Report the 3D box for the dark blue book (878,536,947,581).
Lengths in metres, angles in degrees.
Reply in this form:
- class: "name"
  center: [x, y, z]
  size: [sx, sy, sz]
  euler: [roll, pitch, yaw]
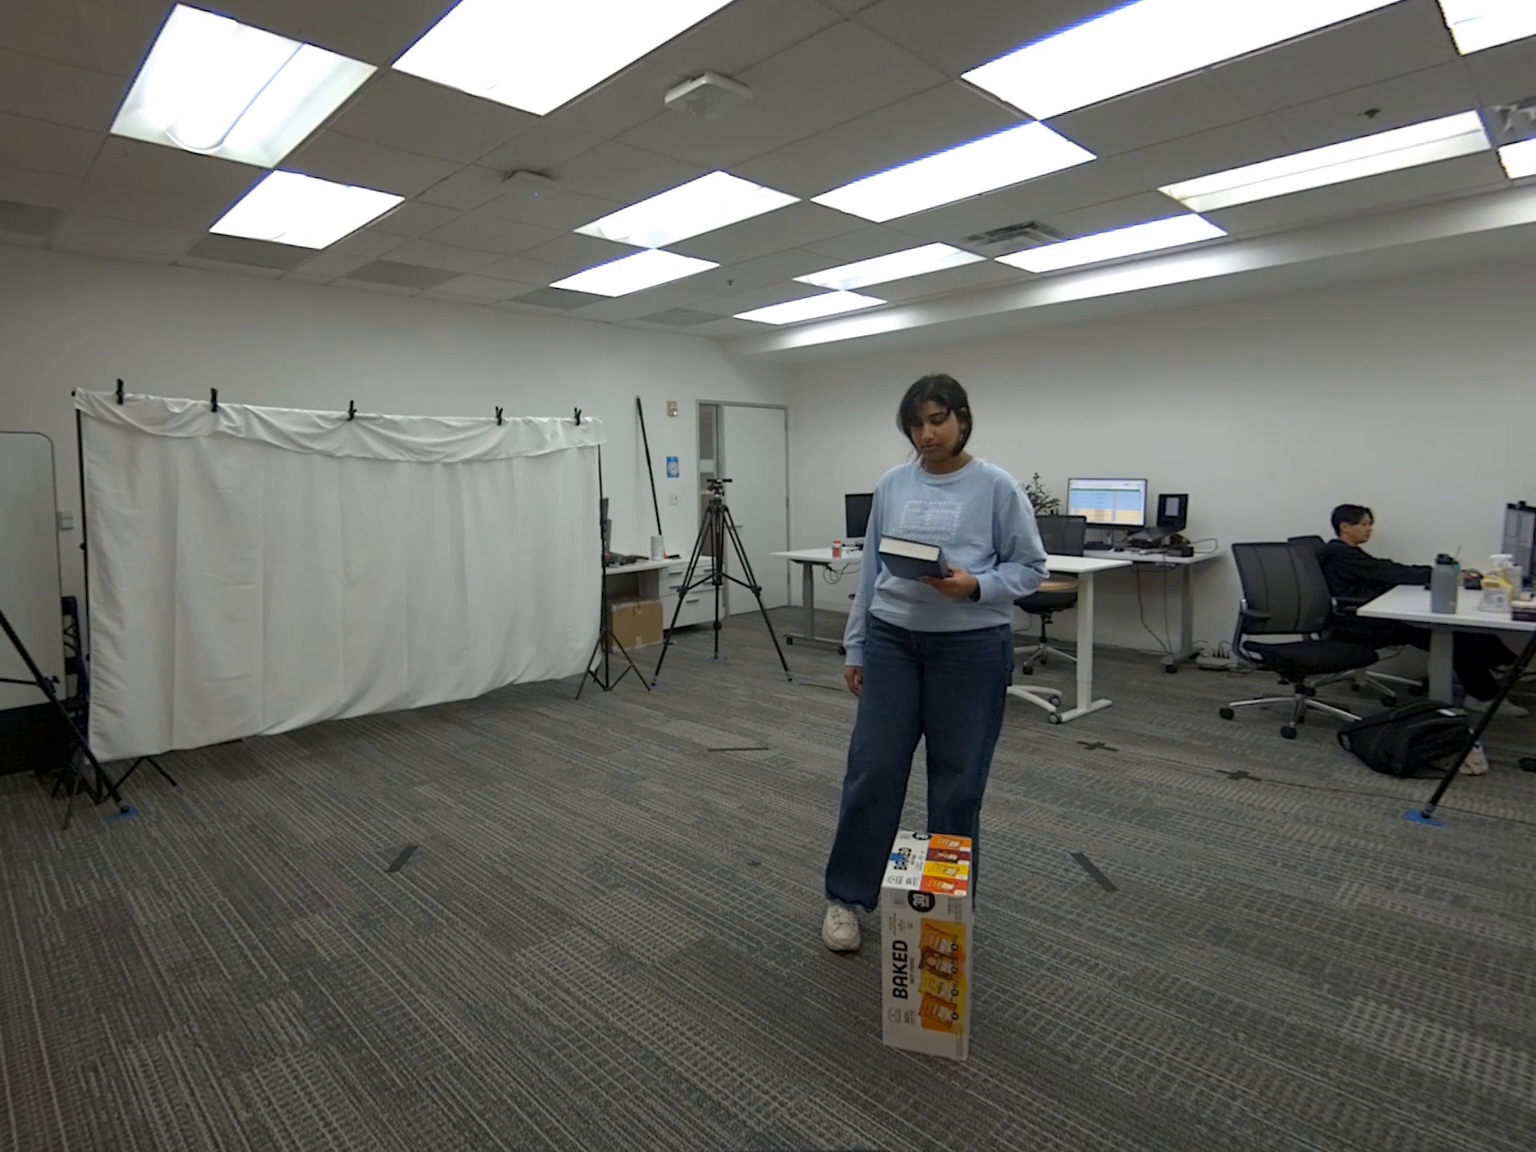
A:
- class: "dark blue book"
  center: [0.401, -0.042, 2.340]
  size: [0.167, 0.045, 0.237]
  euler: [11, -12, 22]
